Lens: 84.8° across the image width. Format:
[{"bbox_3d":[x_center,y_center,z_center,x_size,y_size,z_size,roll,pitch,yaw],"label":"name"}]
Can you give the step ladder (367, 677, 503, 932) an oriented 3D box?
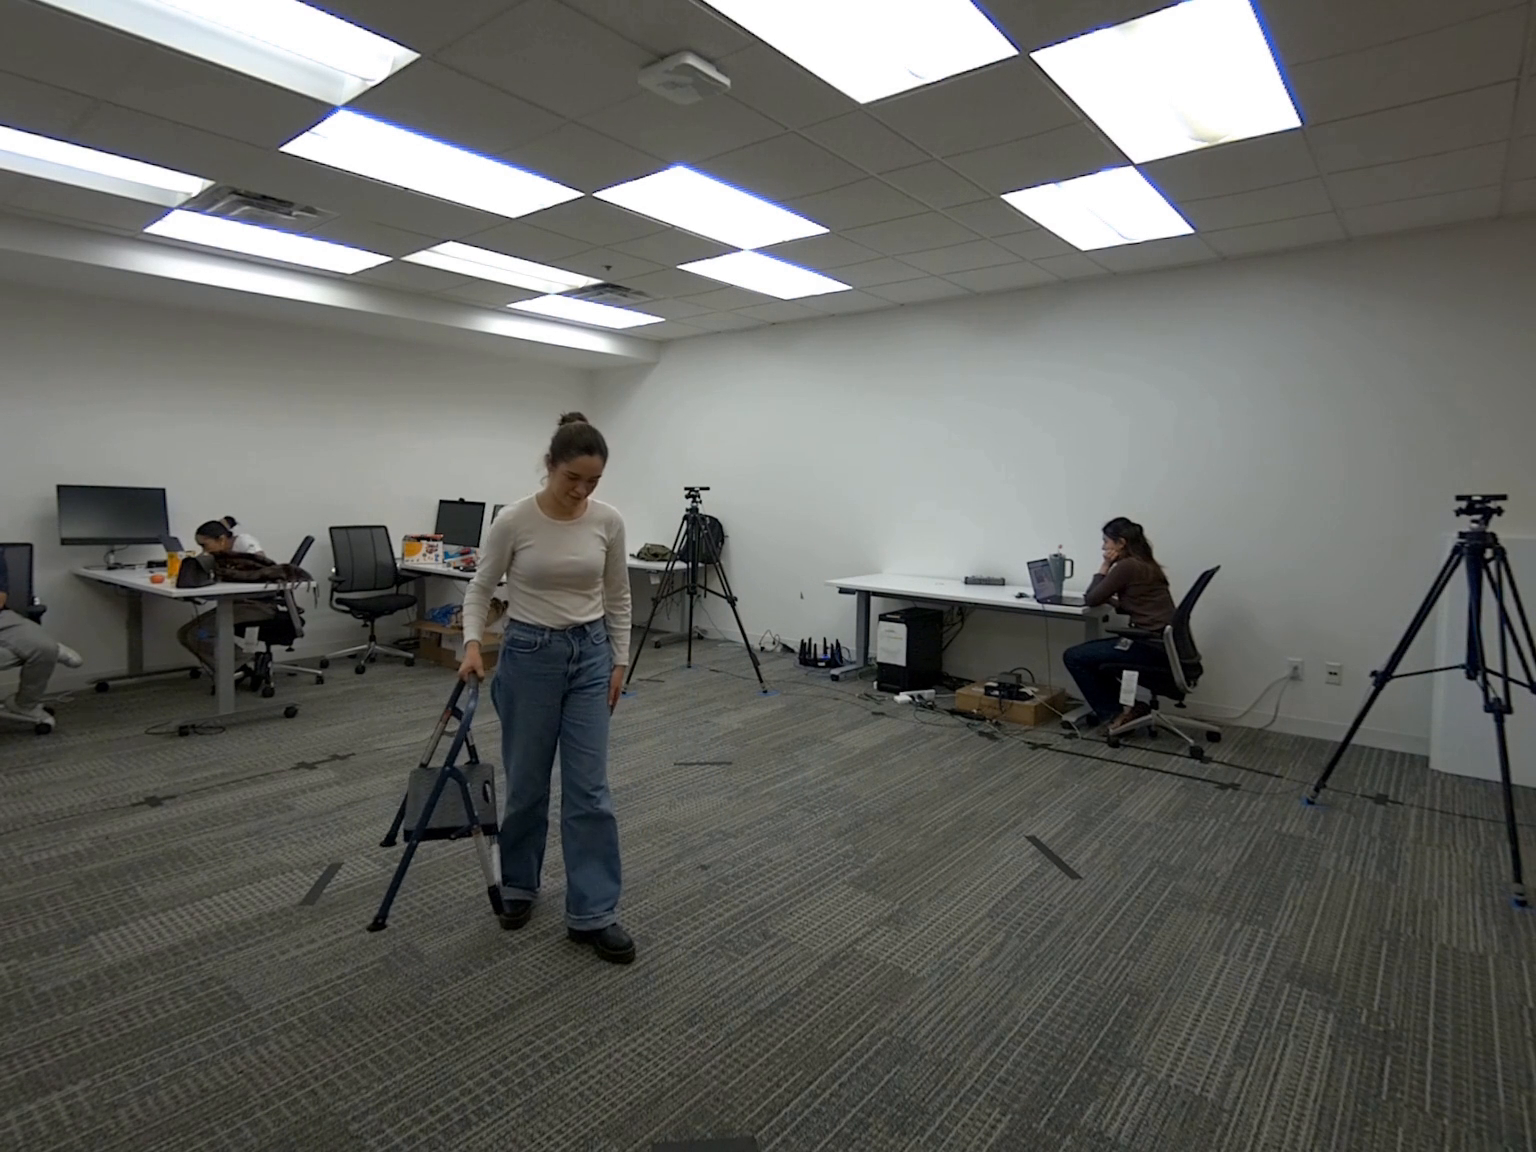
[{"bbox_3d":[-0.919,0.582,2.397,0.343,0.600,0.443,2,13,-19],"label":"step ladder"}]
